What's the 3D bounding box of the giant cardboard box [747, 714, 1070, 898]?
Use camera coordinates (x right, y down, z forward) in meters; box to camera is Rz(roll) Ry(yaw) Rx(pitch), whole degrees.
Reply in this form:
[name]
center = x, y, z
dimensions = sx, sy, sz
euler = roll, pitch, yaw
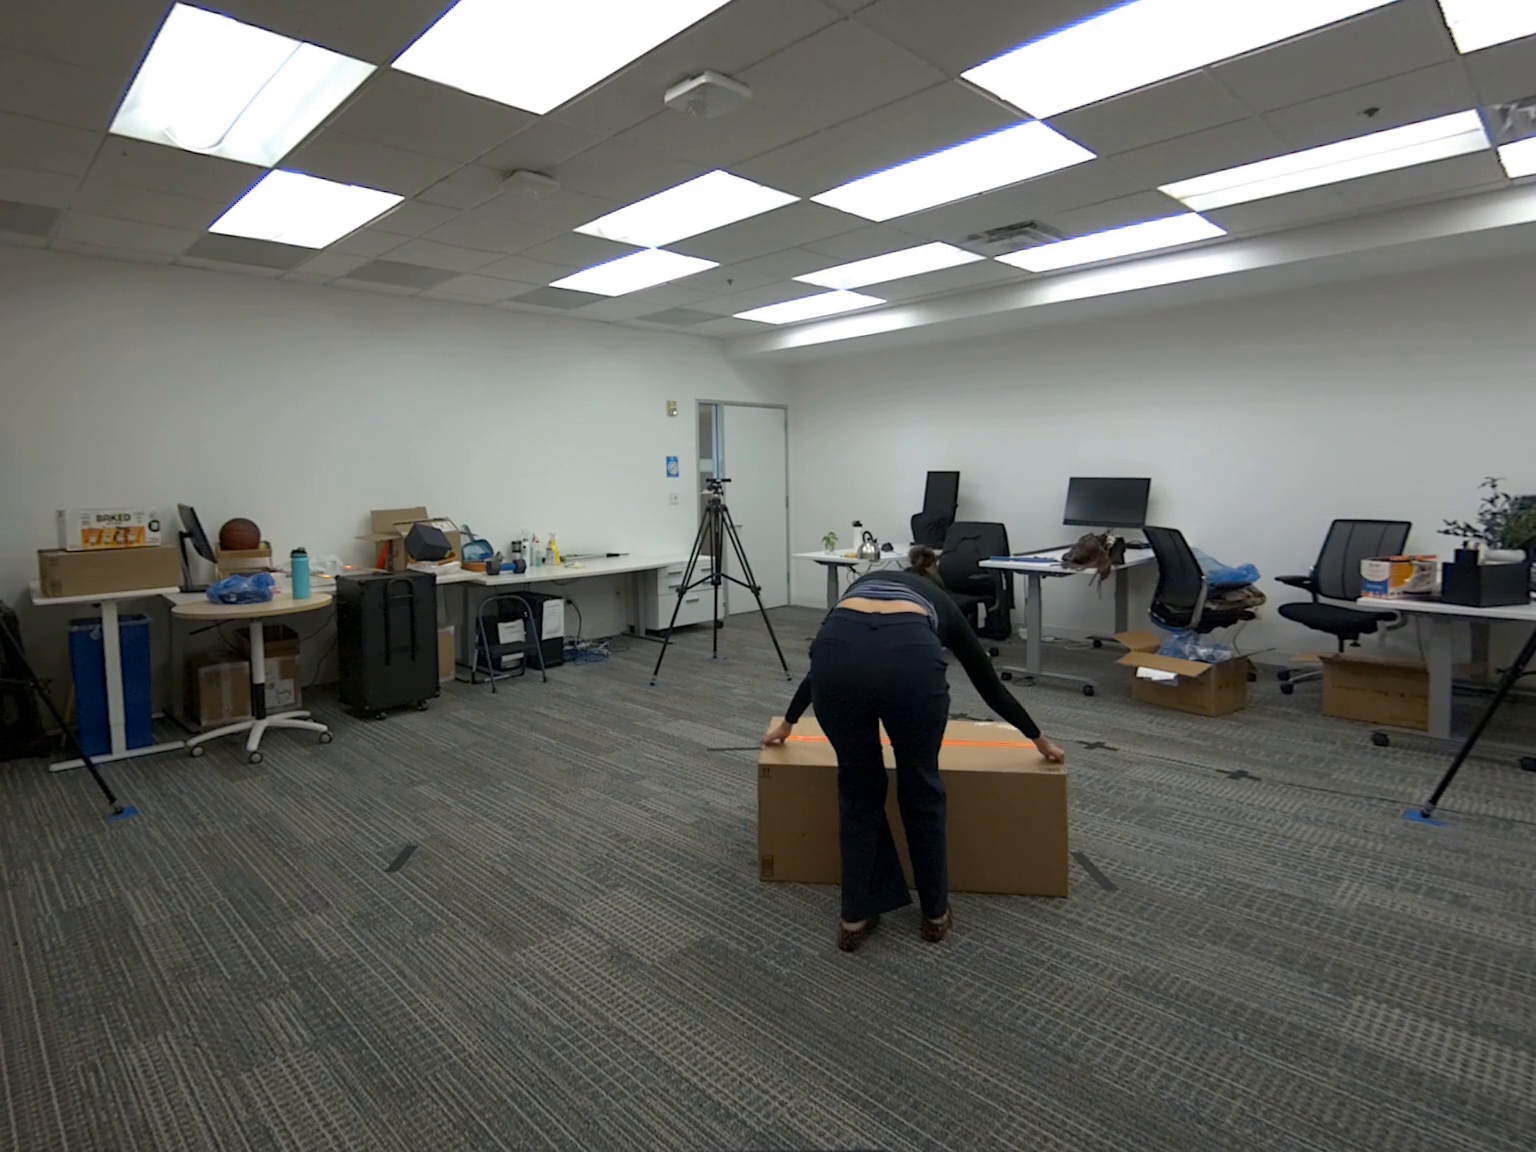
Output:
[giant cardboard box]
center = 0.497, 0.811, 3.154
dimensions = 1.035, 0.425, 0.575
euler = -1, 5, 8
